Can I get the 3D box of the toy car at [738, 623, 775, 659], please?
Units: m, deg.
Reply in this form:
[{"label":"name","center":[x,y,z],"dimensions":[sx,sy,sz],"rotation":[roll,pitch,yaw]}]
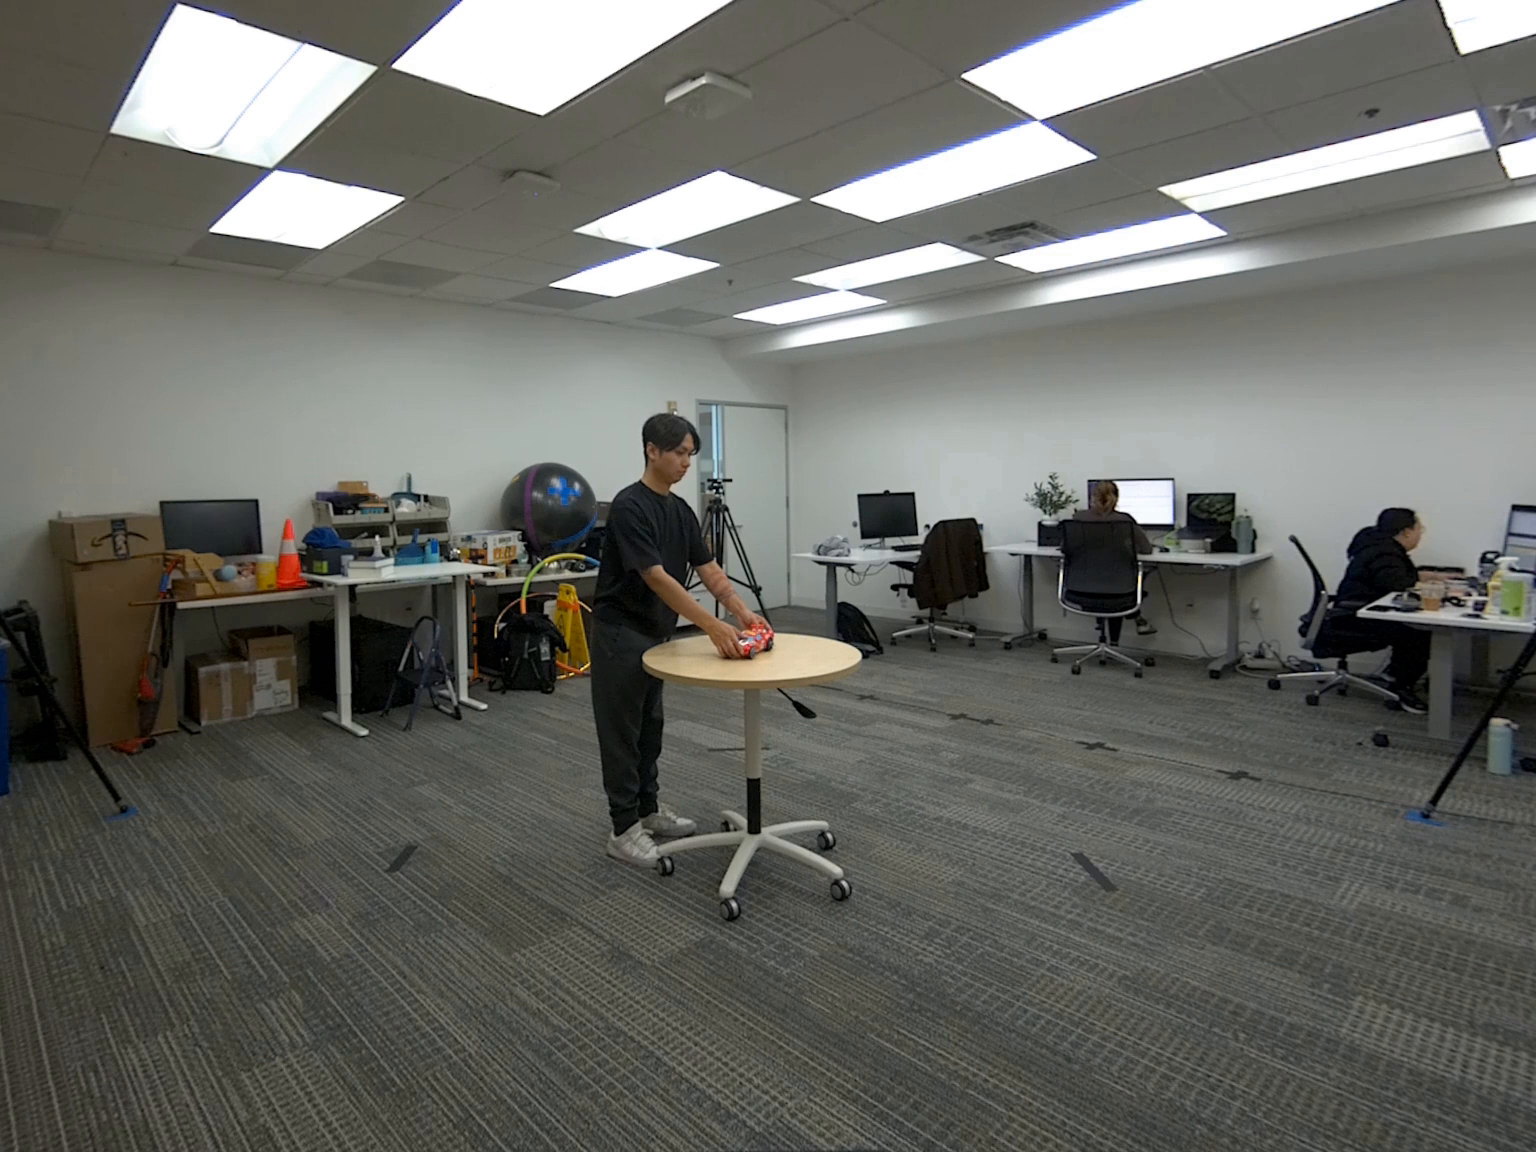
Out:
[{"label":"toy car","center":[-0.066,0.241,3.018],"dimensions":[0.133,0.082,0.252],"rotation":[3,19,25]}]
